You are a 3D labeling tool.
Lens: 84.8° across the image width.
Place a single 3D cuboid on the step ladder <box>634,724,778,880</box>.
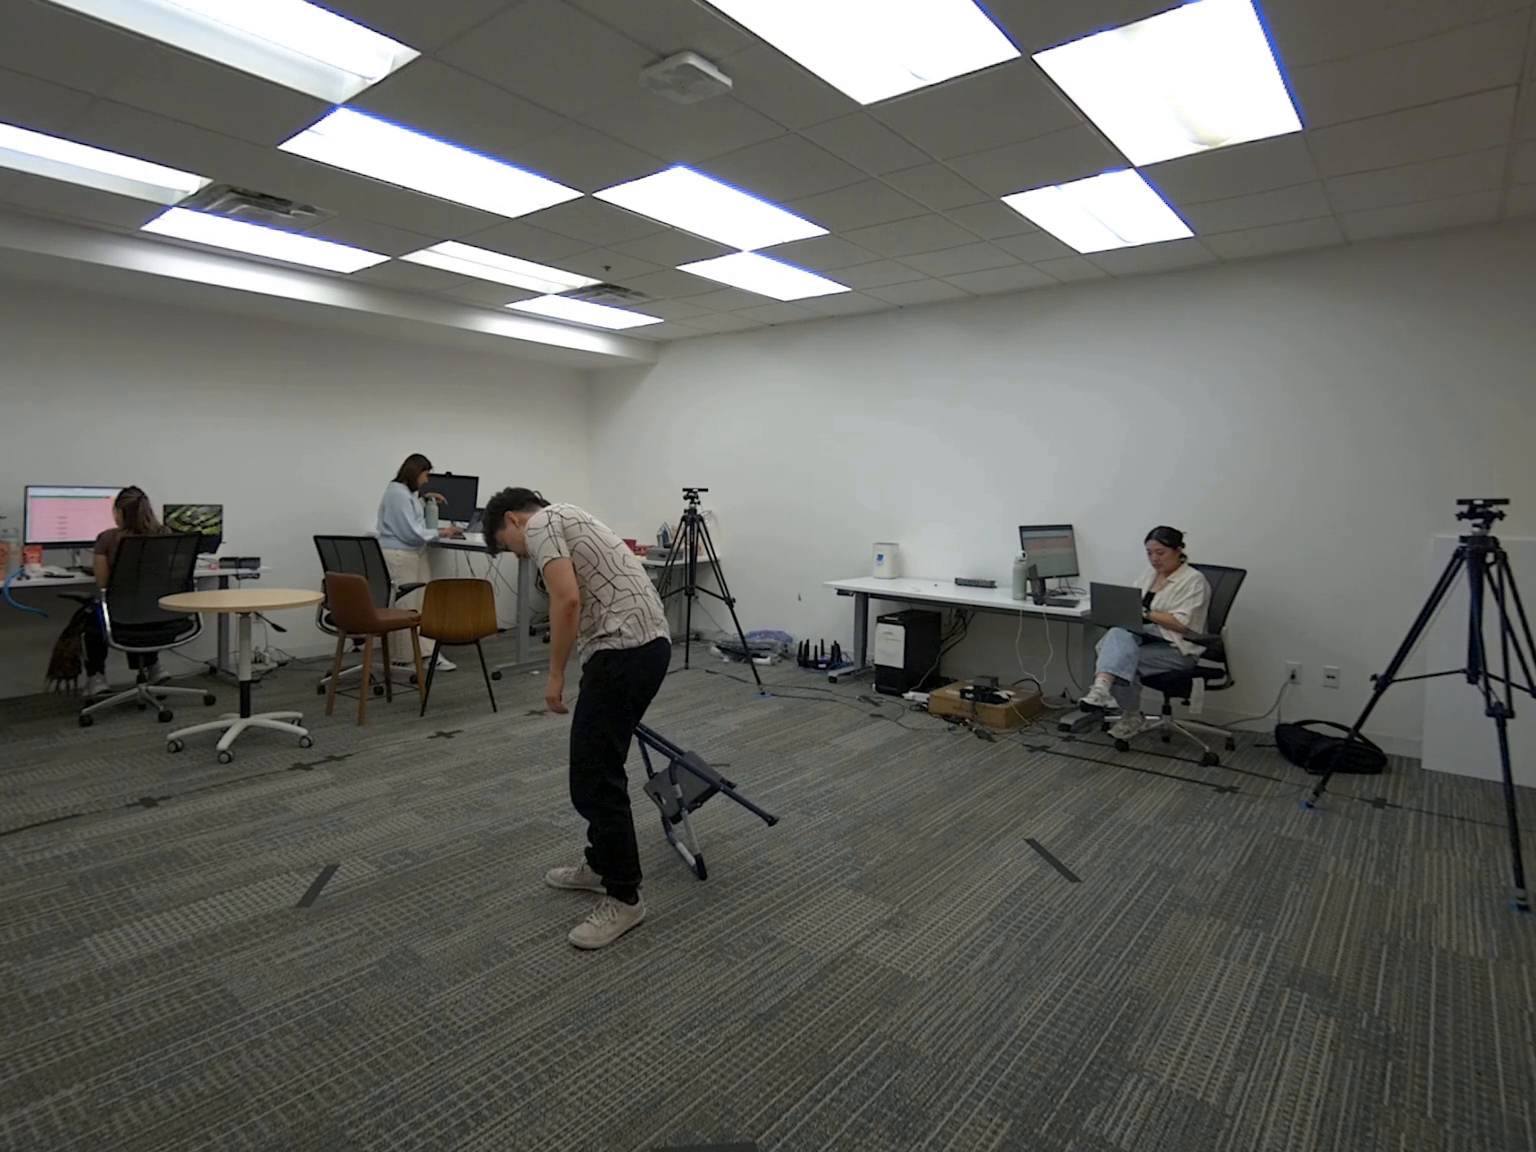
[{"bbox_3d":[-0.337,0.721,3.184,0.347,0.594,0.442,-36,16,-18],"label":"step ladder"}]
